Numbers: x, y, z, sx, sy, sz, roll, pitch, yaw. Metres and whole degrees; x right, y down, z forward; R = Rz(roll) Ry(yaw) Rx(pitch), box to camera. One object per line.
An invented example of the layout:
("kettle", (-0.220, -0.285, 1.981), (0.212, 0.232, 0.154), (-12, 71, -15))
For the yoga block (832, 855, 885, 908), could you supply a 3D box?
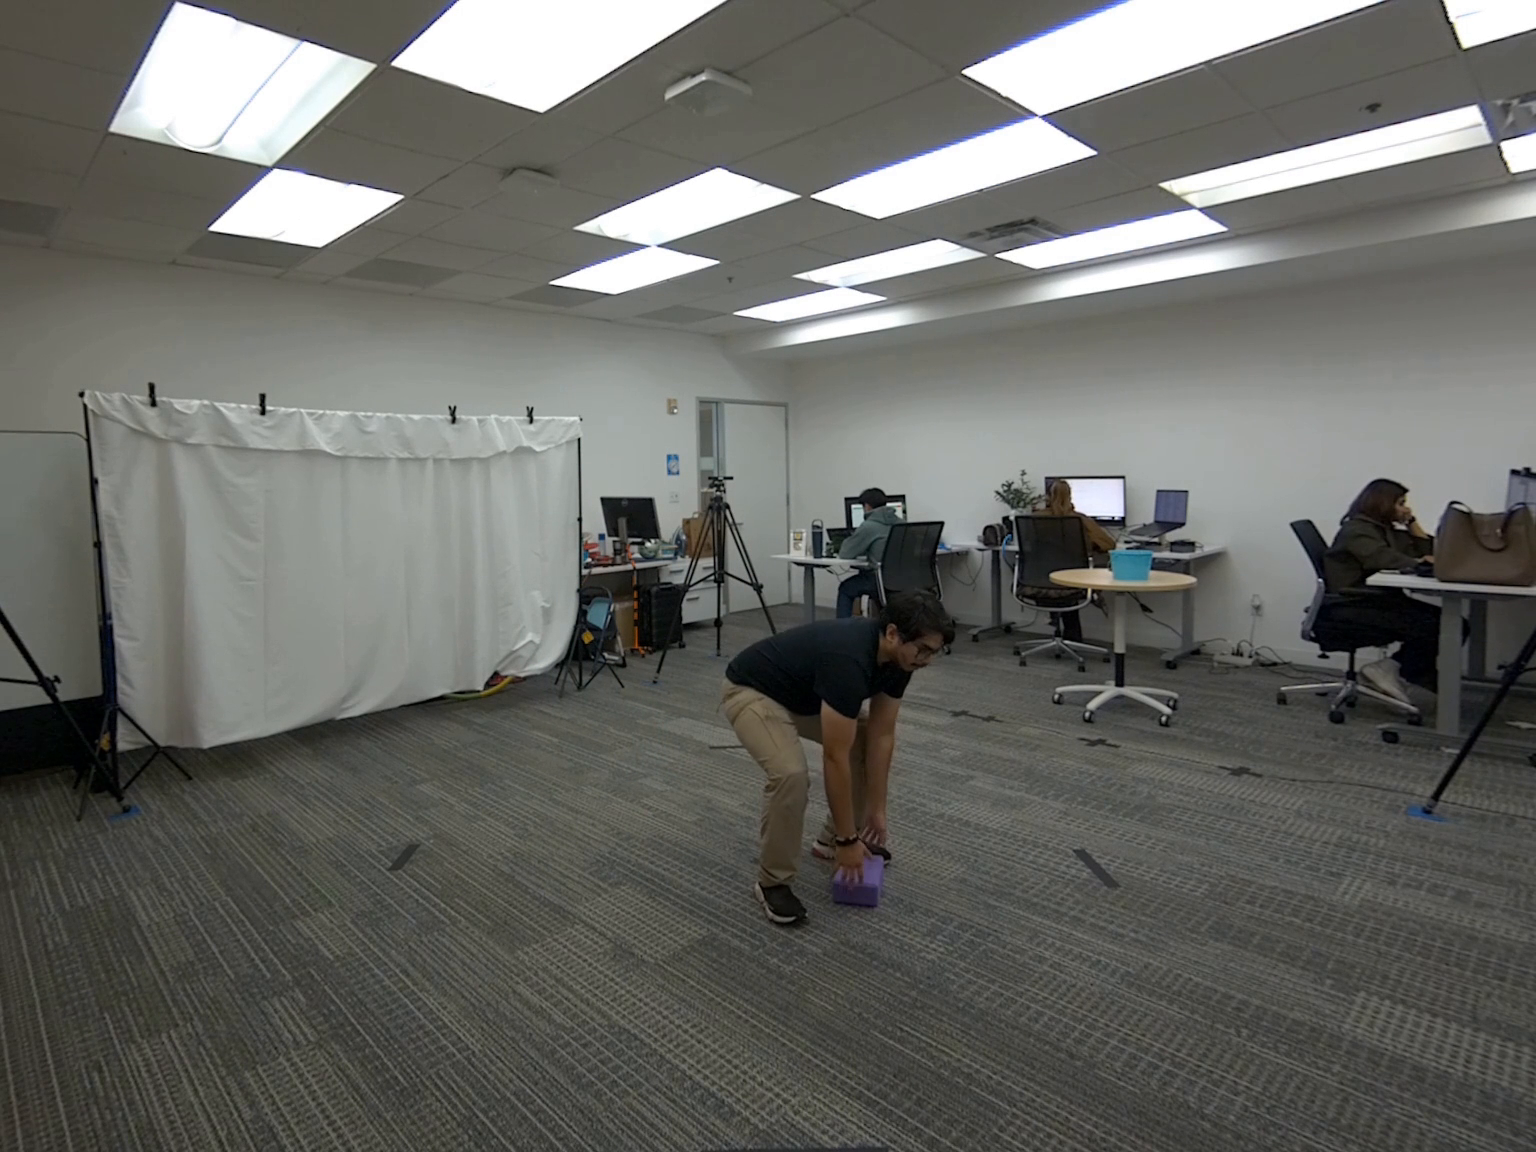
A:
("yoga block", (0.309, 1.019, 2.874), (0.151, 0.076, 0.227), (-1, 7, 14))
